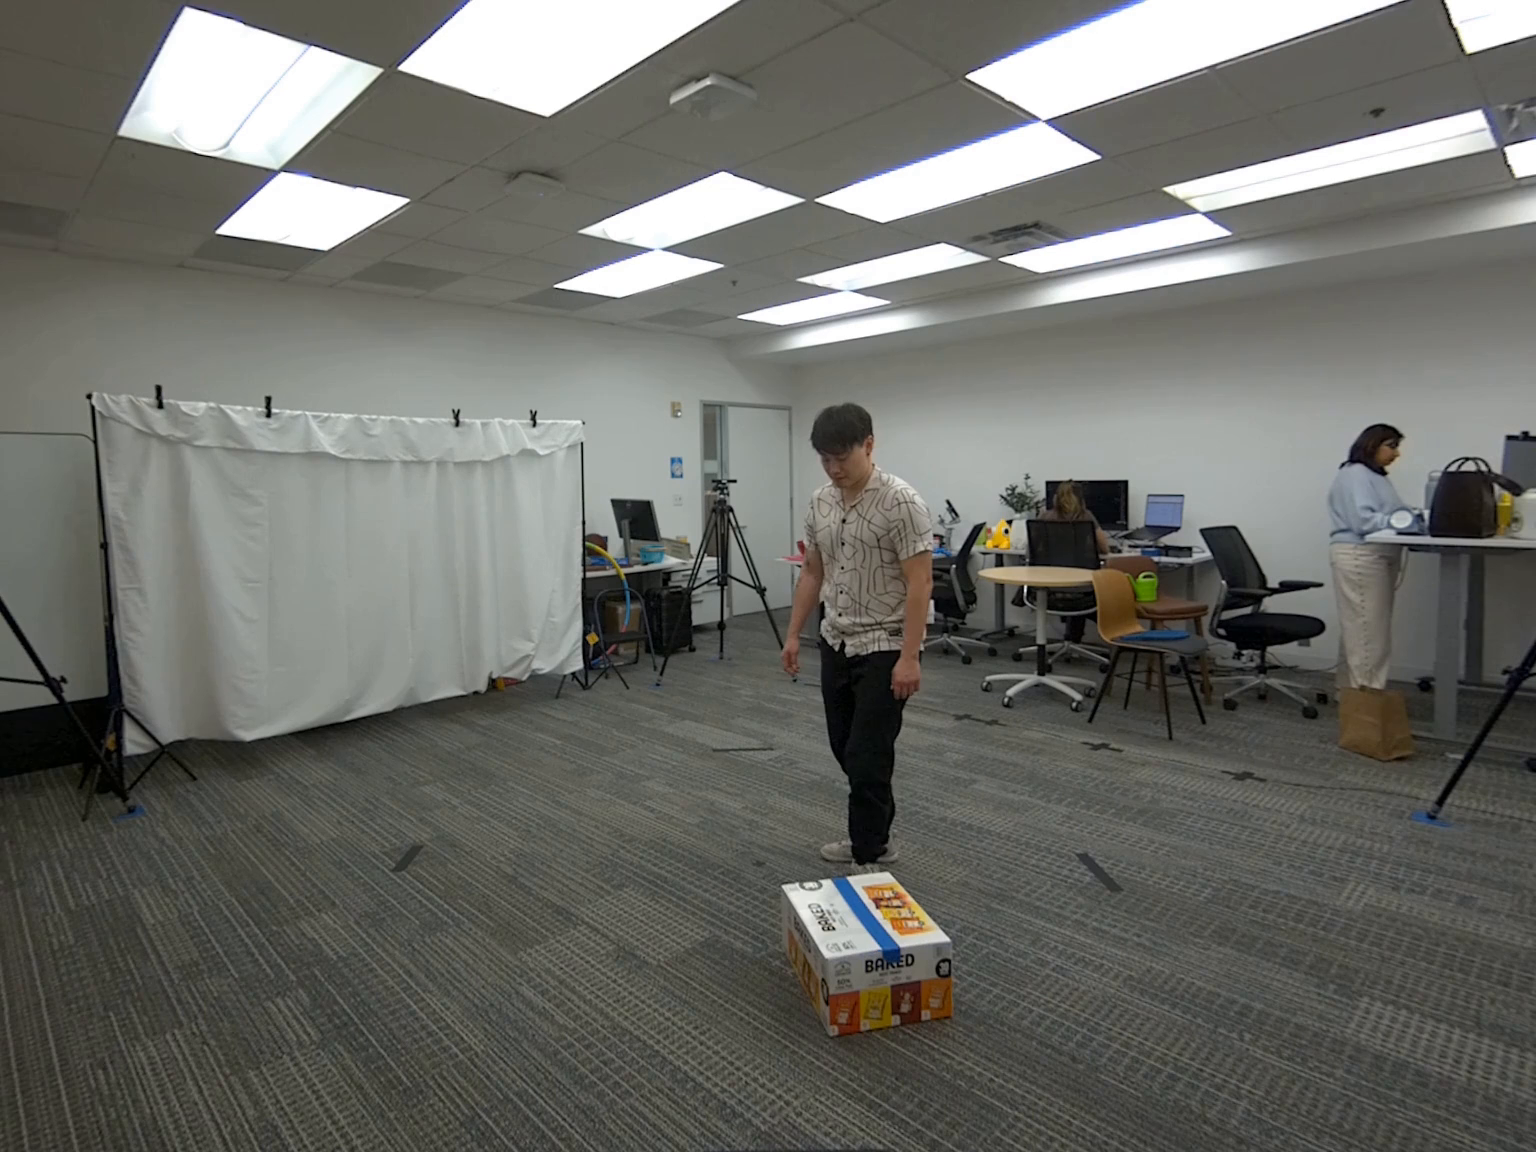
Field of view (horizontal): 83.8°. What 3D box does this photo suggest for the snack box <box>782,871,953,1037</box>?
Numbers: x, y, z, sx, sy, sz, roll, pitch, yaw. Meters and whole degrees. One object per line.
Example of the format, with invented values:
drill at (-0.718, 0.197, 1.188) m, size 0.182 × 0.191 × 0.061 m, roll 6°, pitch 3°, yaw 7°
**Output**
snack box at (0.261, 1.027, 2.360) m, size 0.336 × 0.205 × 0.412 m, roll -2°, pitch 6°, yaw -14°
